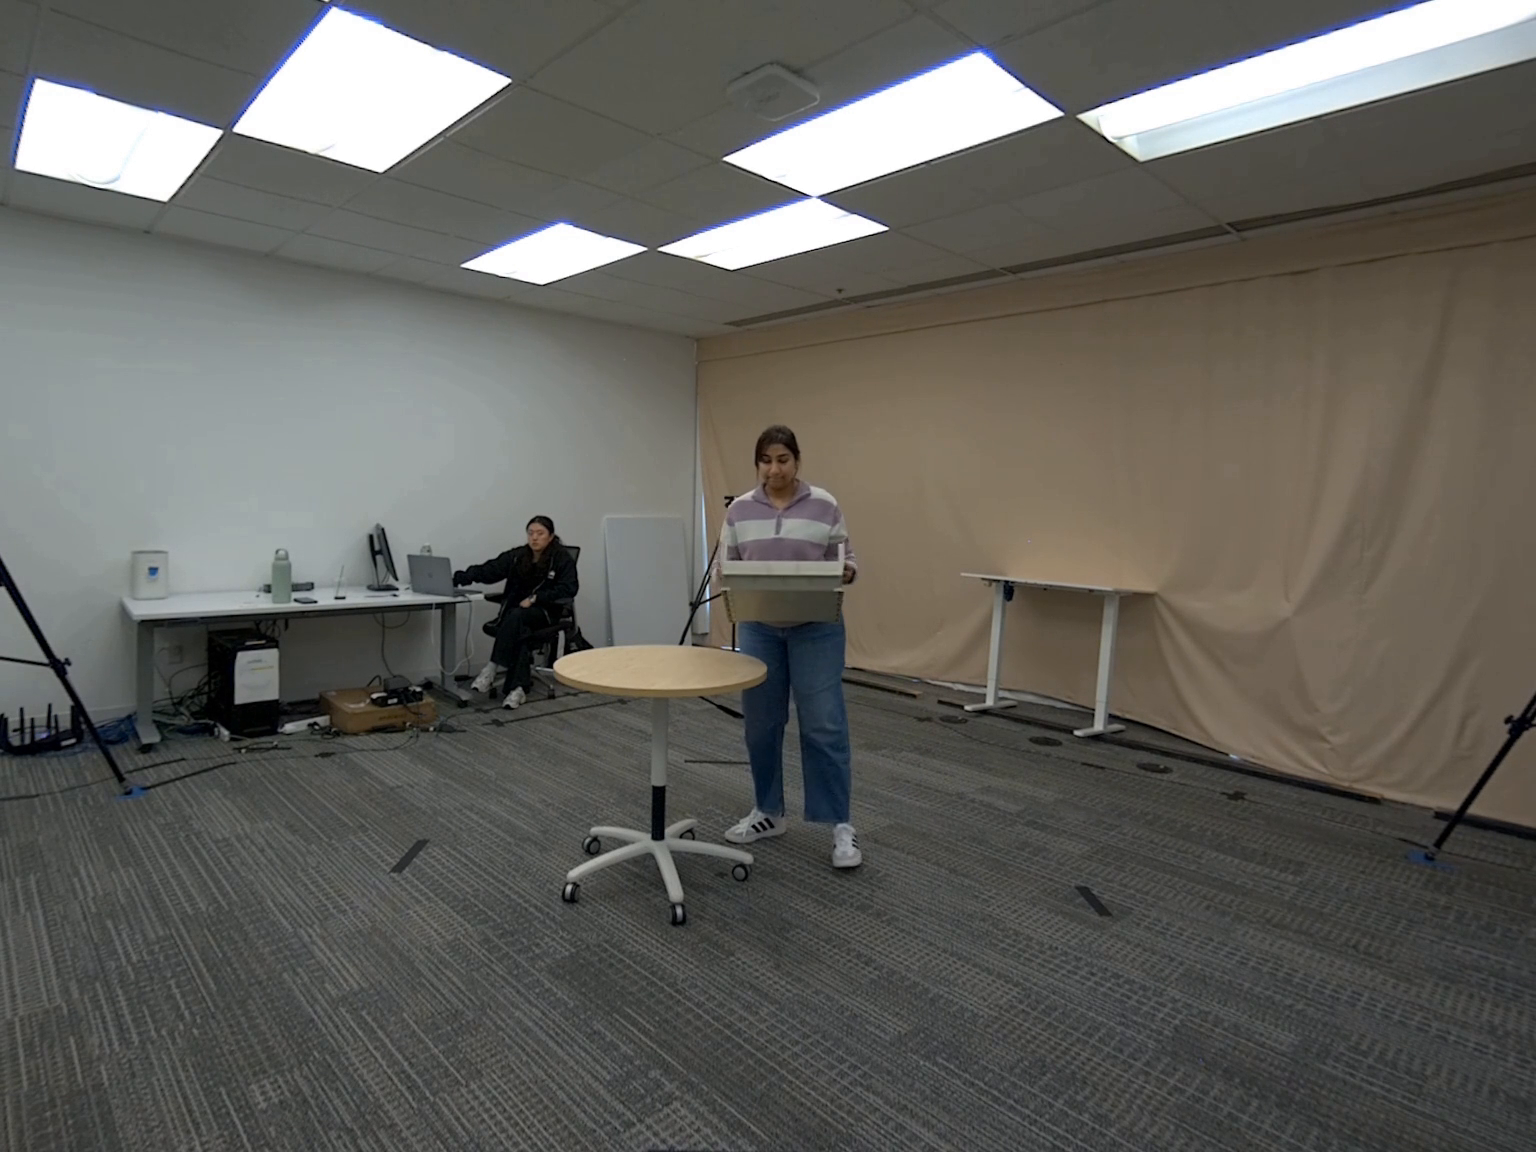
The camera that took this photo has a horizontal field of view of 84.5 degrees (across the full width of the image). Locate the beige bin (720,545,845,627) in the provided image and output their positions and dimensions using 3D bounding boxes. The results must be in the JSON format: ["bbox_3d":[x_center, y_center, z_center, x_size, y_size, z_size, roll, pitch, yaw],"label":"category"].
[{"bbox_3d":[0.050,0.026,2.987,0.424,0.192,0.370,1,-25,4],"label":"beige bin"}]
